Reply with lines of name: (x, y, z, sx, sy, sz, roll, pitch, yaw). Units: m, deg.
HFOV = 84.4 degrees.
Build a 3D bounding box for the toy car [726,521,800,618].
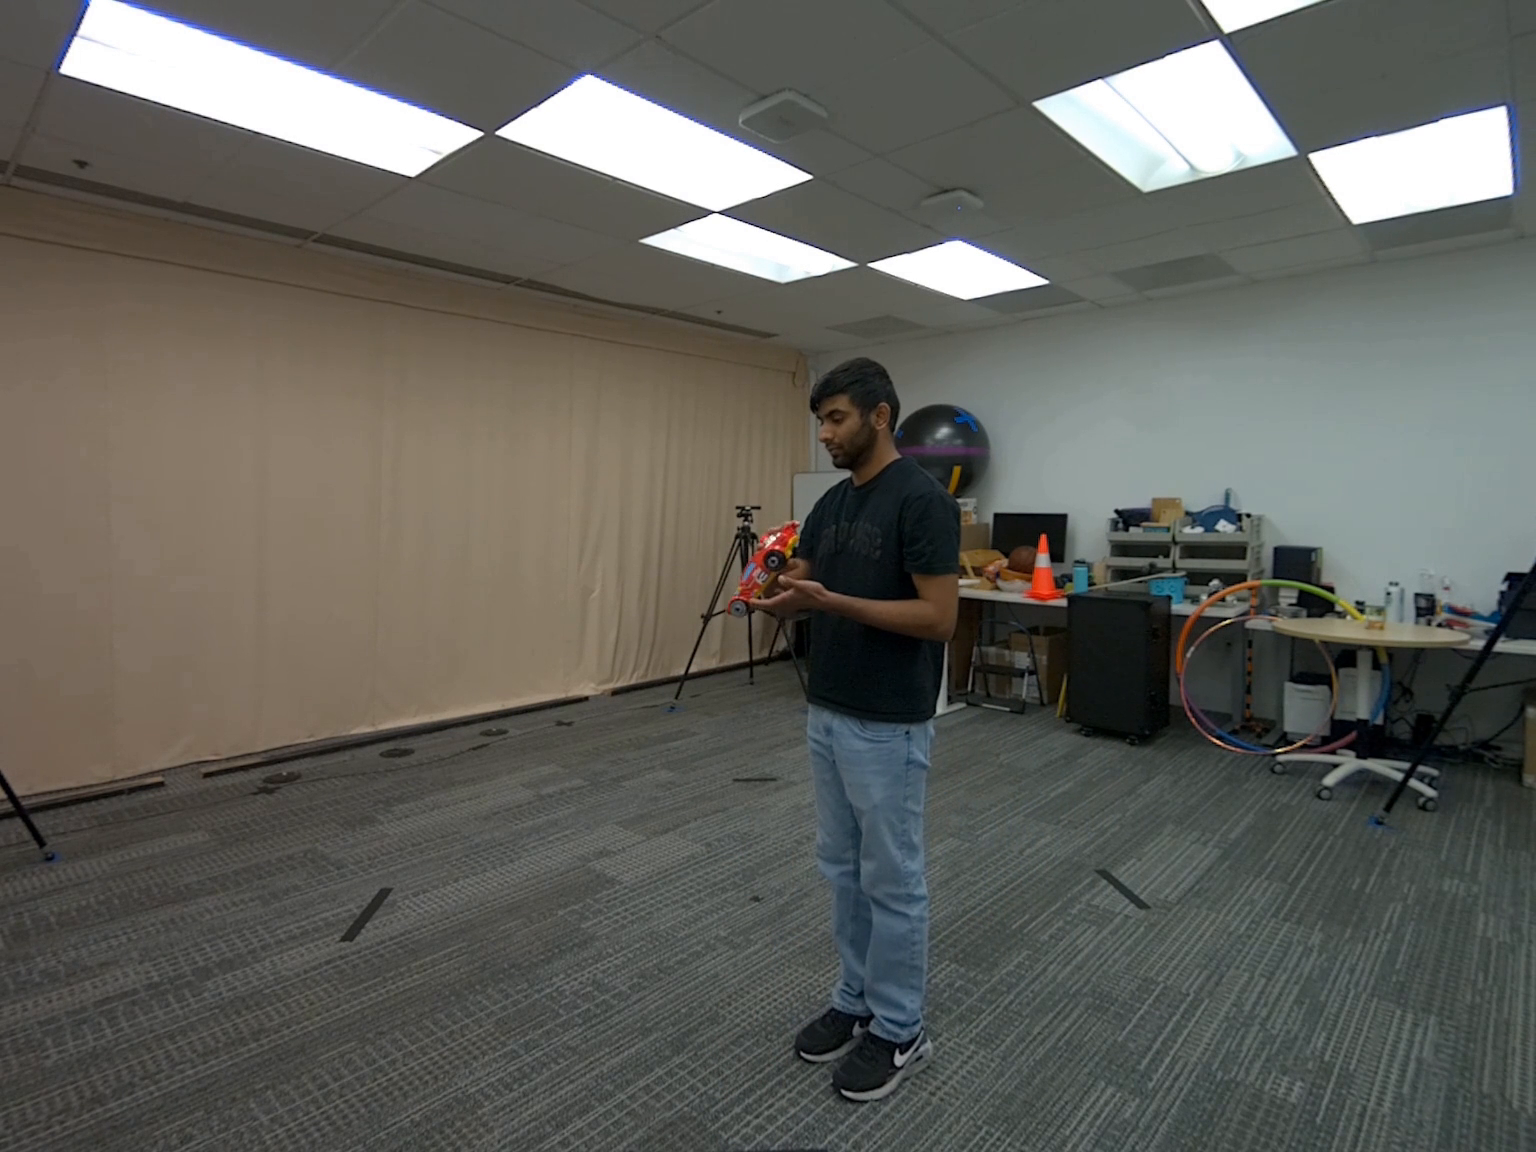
toy car: (-0.003, -0.011, 1.951, 0.084, 0.254, 0.128, 30, 20, 11)
